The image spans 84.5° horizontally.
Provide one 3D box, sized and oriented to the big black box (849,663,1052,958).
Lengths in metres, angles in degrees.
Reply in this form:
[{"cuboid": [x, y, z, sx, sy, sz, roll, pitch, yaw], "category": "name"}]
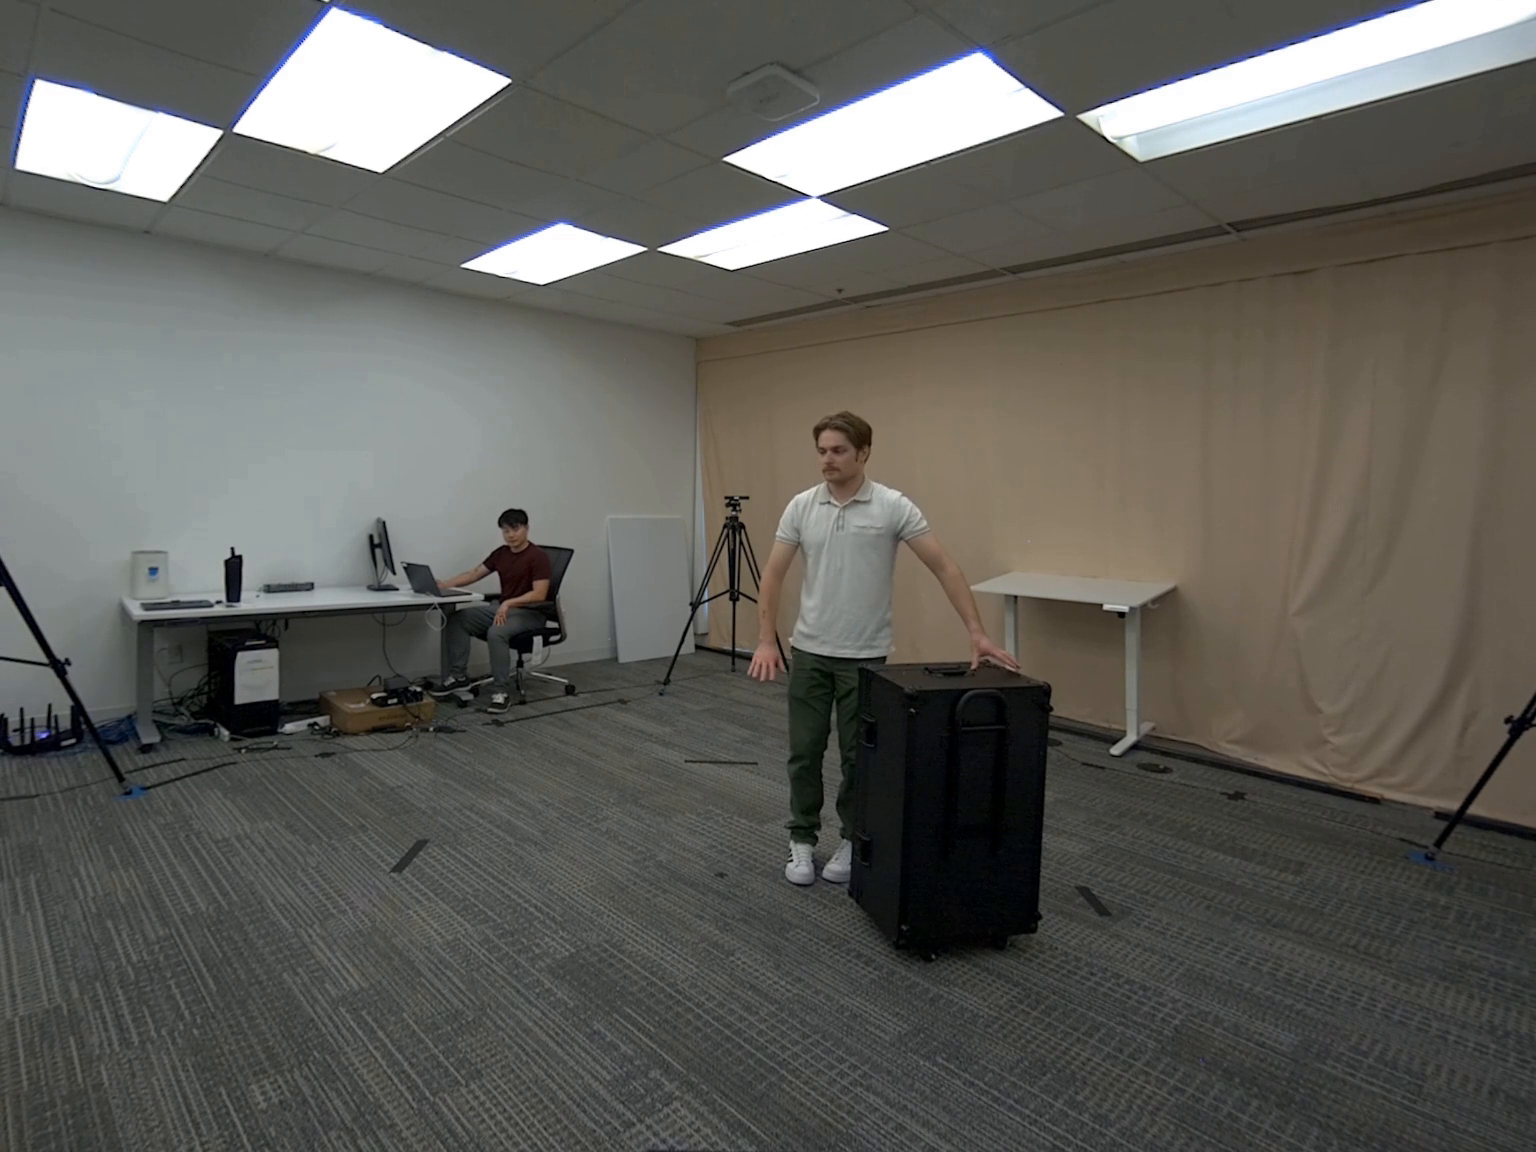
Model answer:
[{"cuboid": [0.579, 0.745, 2.679, 0.516, 0.865, 0.392, 1, 5, -19], "category": "big black box"}]
